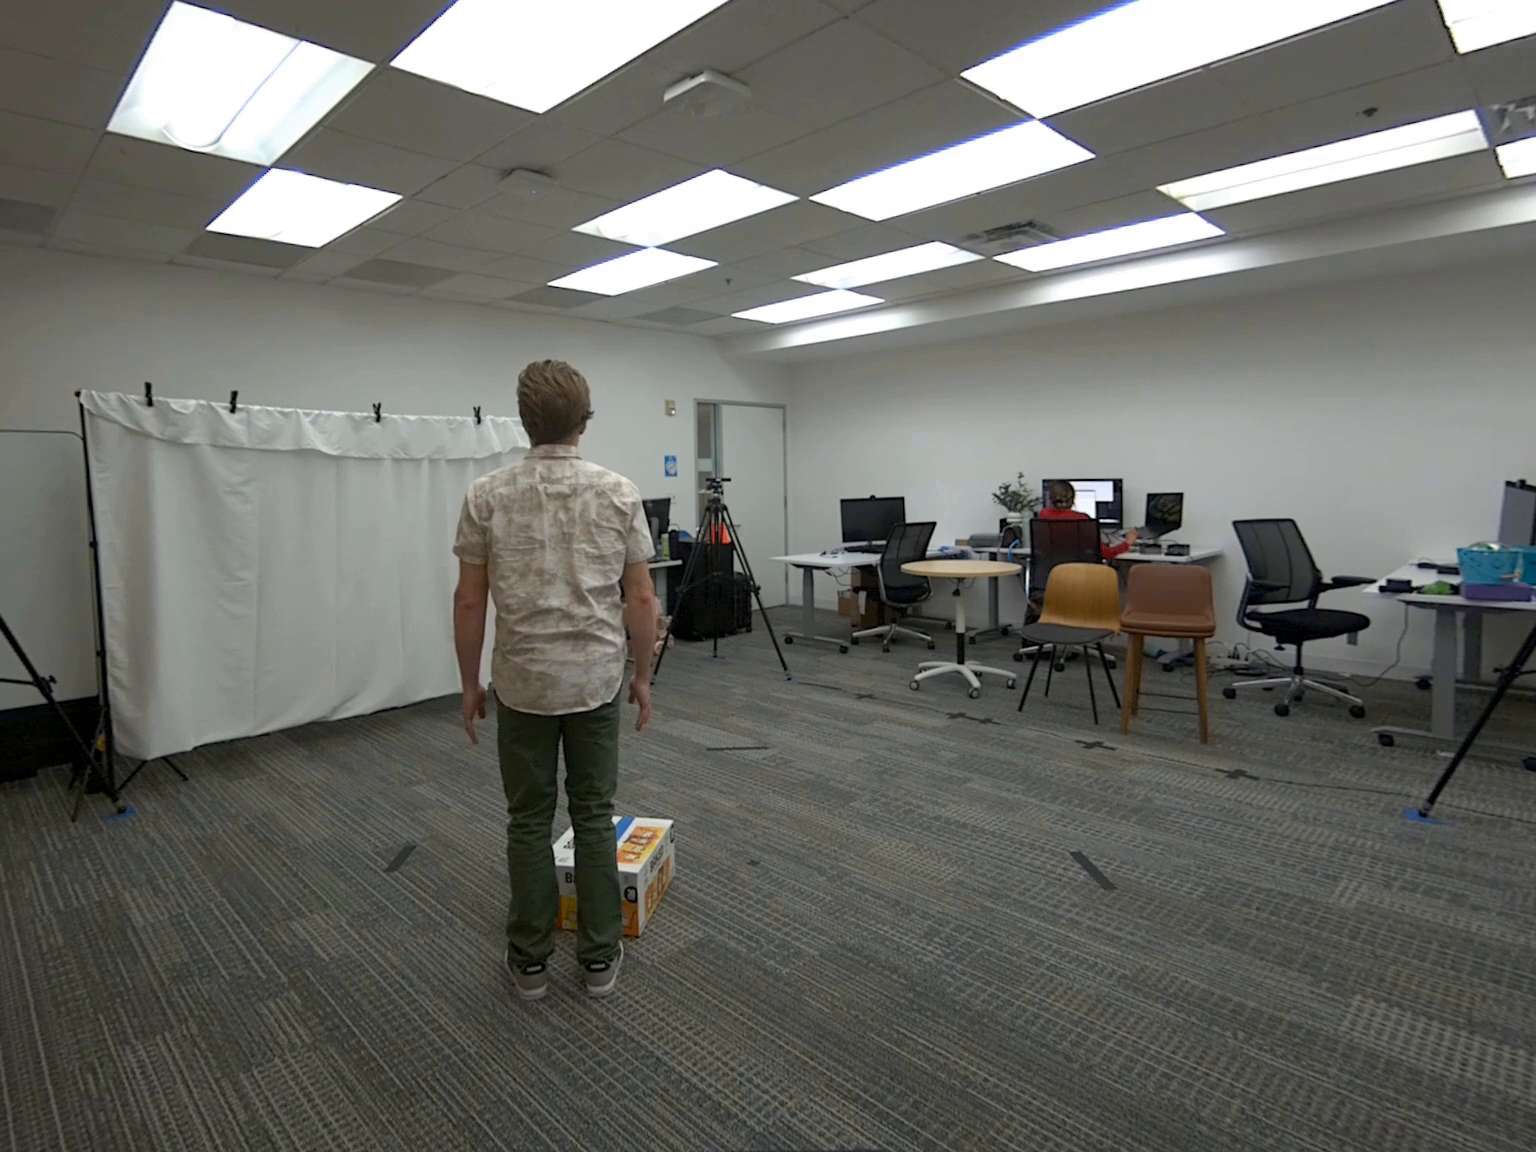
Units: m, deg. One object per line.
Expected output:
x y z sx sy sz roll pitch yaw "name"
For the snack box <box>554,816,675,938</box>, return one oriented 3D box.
-0.526 0.979 2.838 0.344 0.205 0.402 0 7 11 "snack box"
